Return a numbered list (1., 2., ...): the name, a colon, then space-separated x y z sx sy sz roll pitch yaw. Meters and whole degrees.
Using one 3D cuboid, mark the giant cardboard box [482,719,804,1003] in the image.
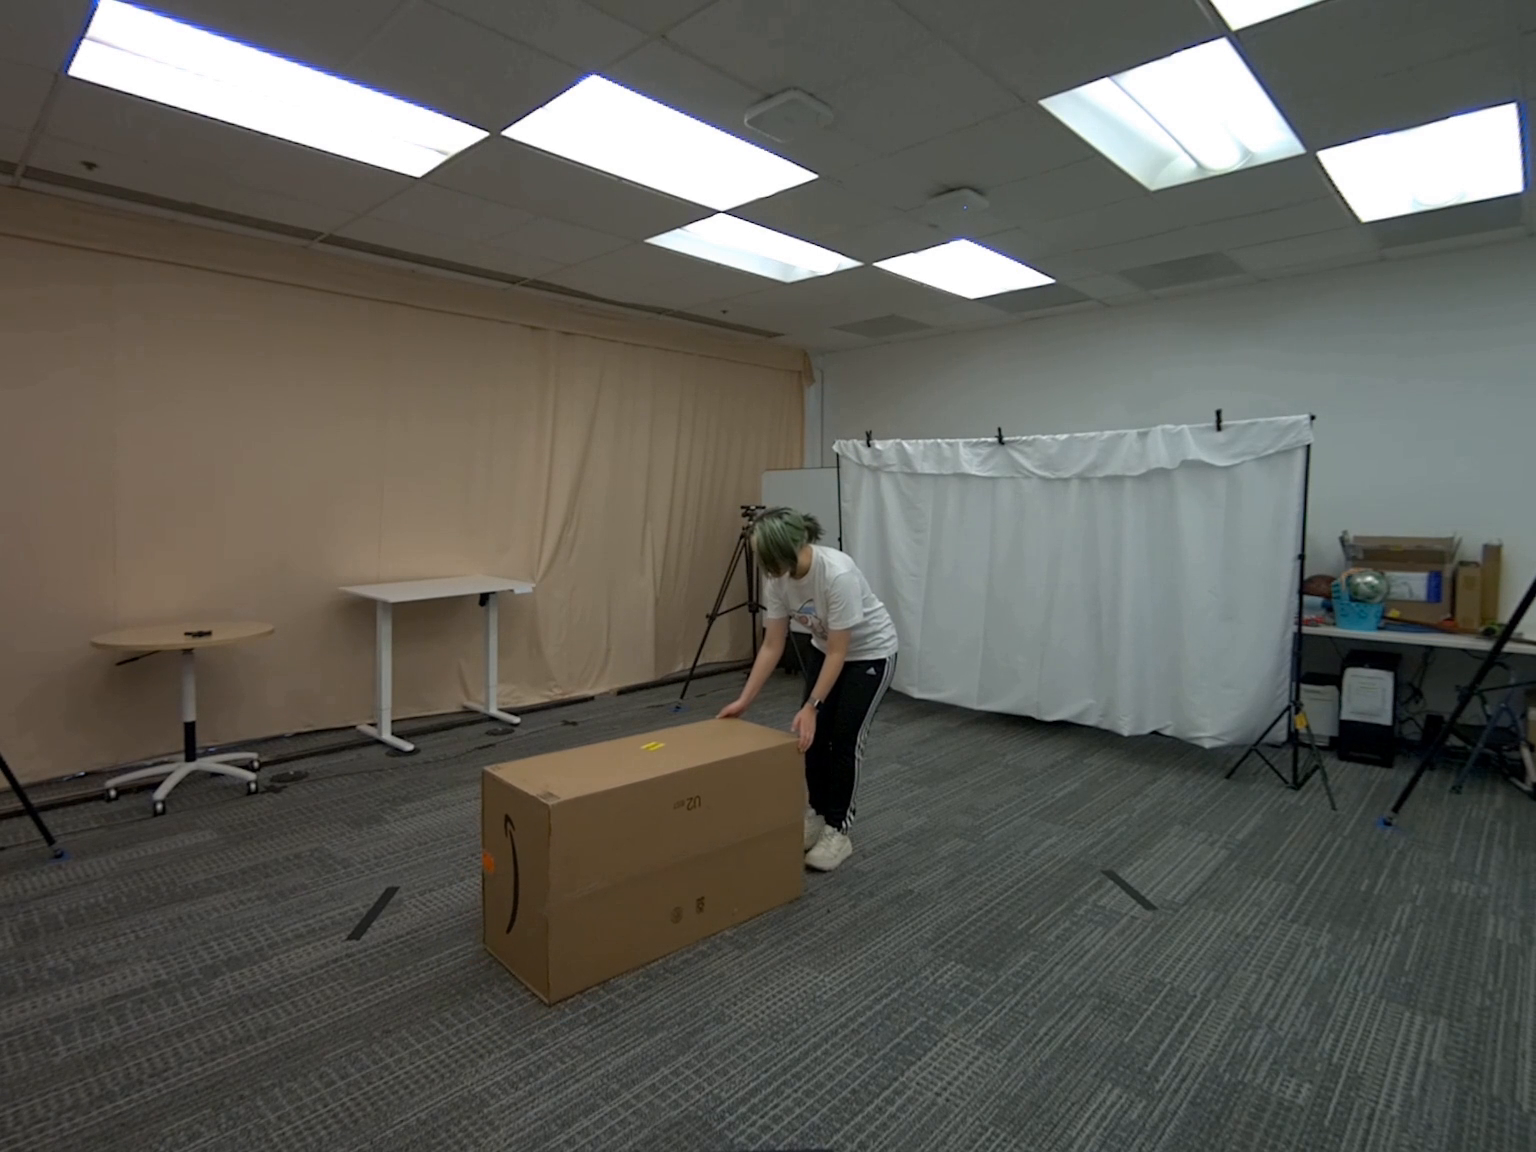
1. giant cardboard box: -0.385 0.873 2.813 0.995 0.583 0.461 -3 4 -42
